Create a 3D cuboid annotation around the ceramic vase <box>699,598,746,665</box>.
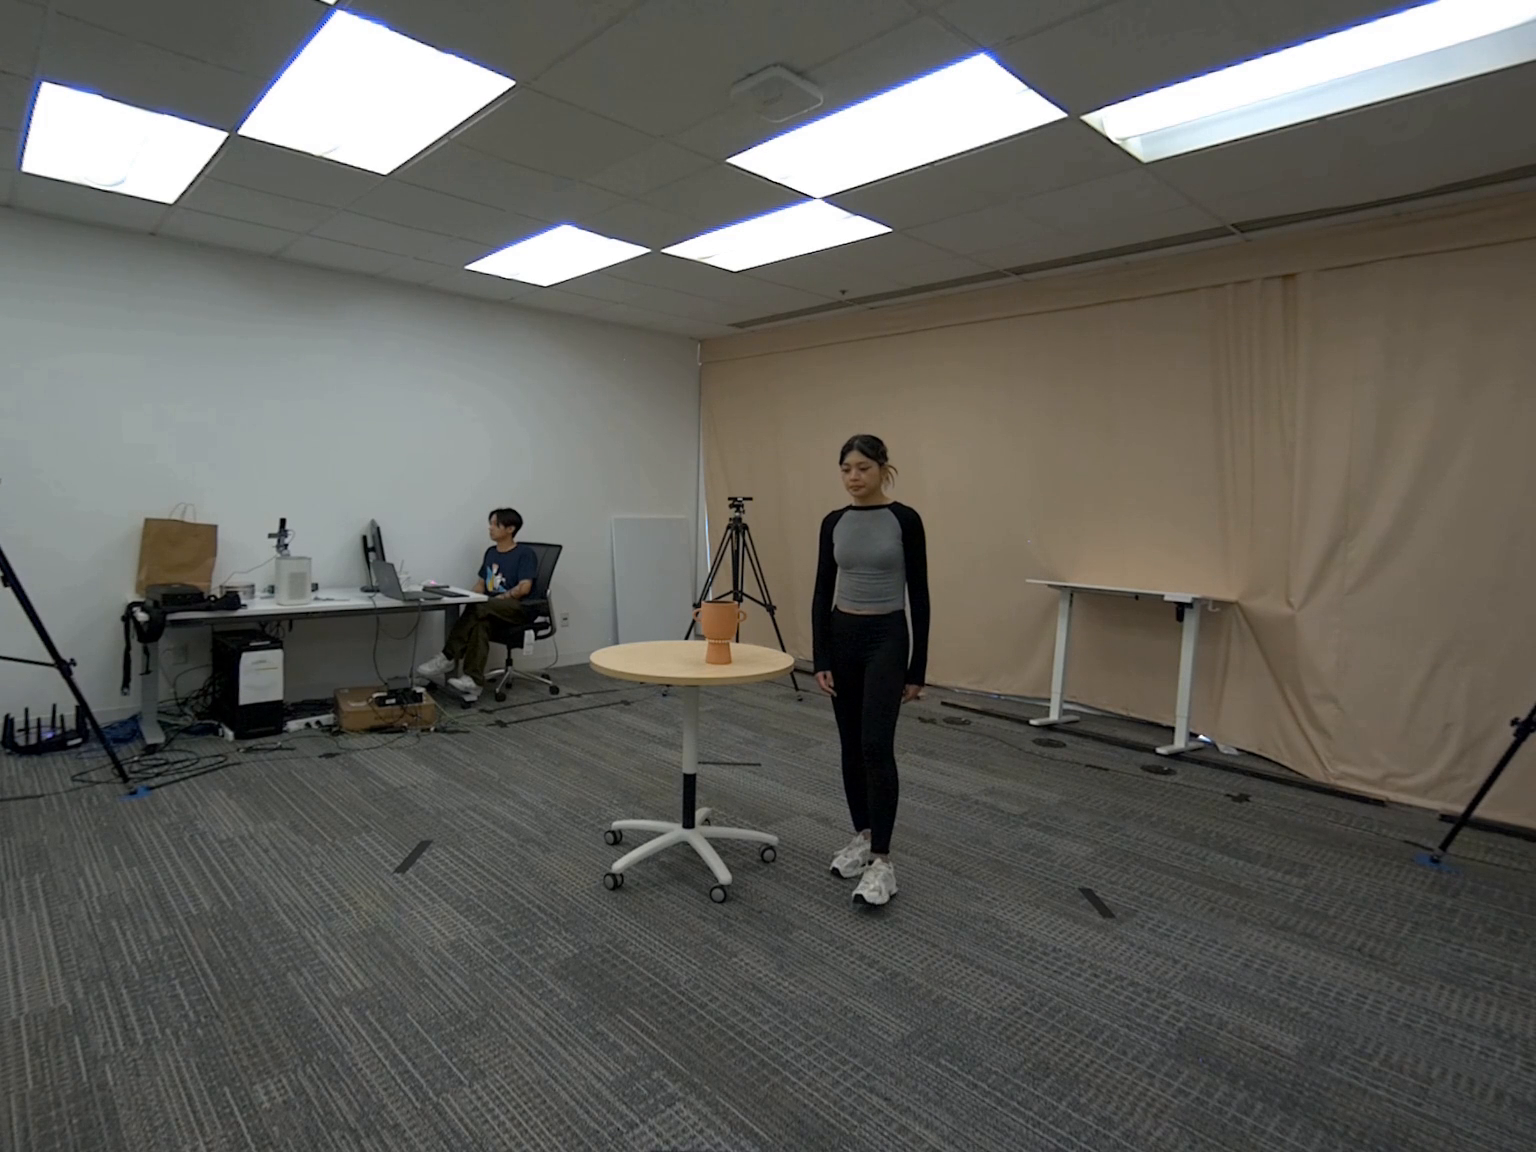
[{"bbox_3d":[-0.181,0.204,3.067,0.162,0.219,0.132,4,5,30],"label":"ceramic vase"}]
